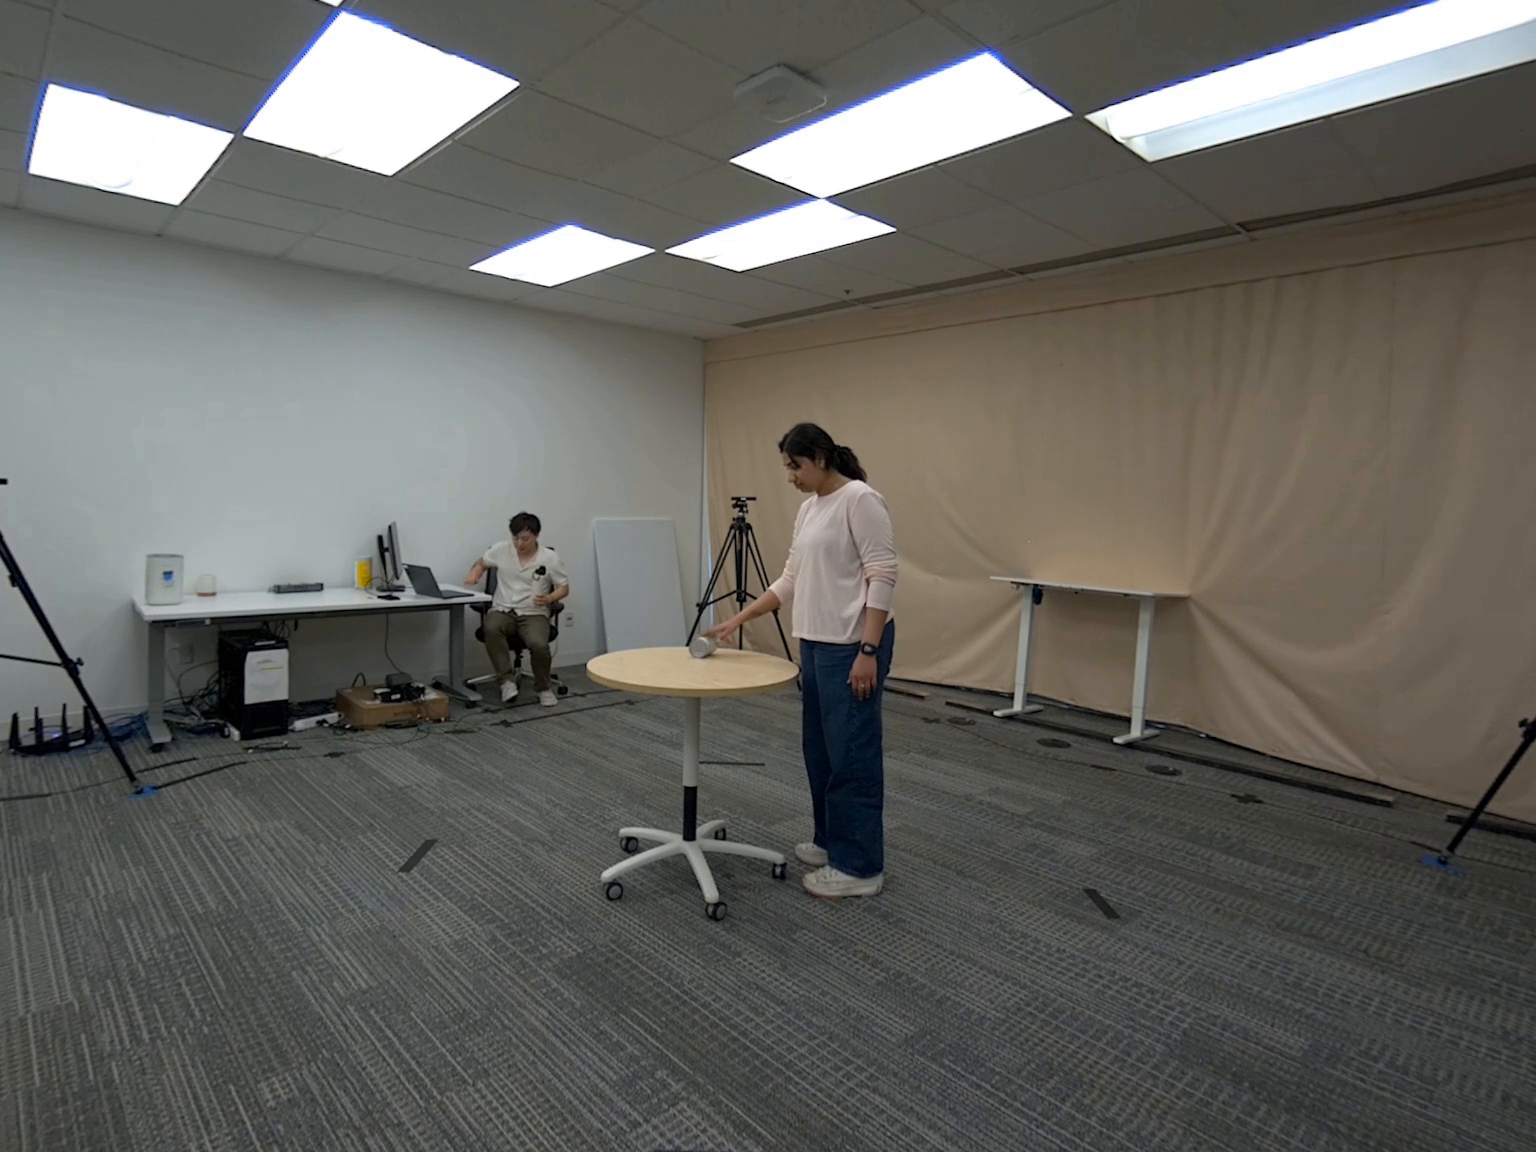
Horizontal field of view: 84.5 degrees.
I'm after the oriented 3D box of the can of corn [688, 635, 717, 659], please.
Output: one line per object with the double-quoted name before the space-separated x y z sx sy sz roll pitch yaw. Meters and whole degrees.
"can of corn" -0.251 0.269 3.246 0.075 0.074 0.110 2 3 15
